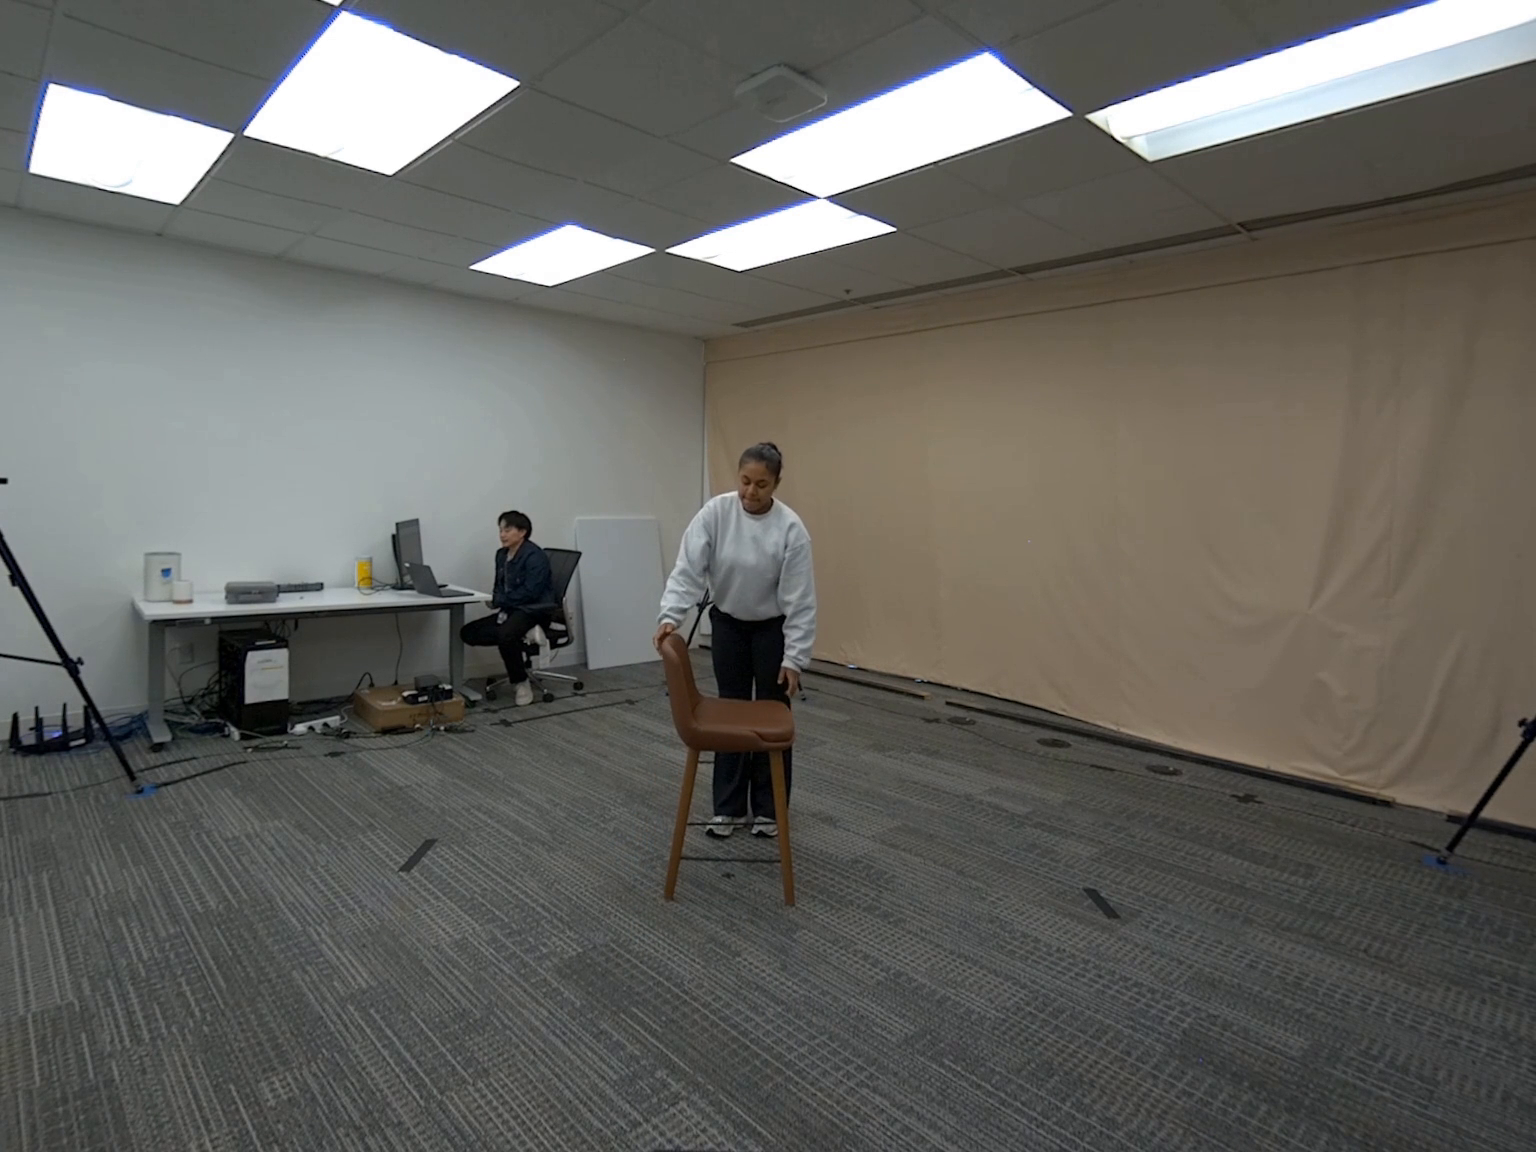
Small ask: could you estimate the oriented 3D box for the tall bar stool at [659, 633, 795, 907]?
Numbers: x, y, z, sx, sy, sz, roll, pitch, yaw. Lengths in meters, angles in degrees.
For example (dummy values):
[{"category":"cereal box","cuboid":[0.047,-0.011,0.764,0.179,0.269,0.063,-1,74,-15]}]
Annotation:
[{"category":"tall bar stool","cuboid":[-0.148,0.679,3.062,0.468,0.887,0.457,0,3,1]}]
